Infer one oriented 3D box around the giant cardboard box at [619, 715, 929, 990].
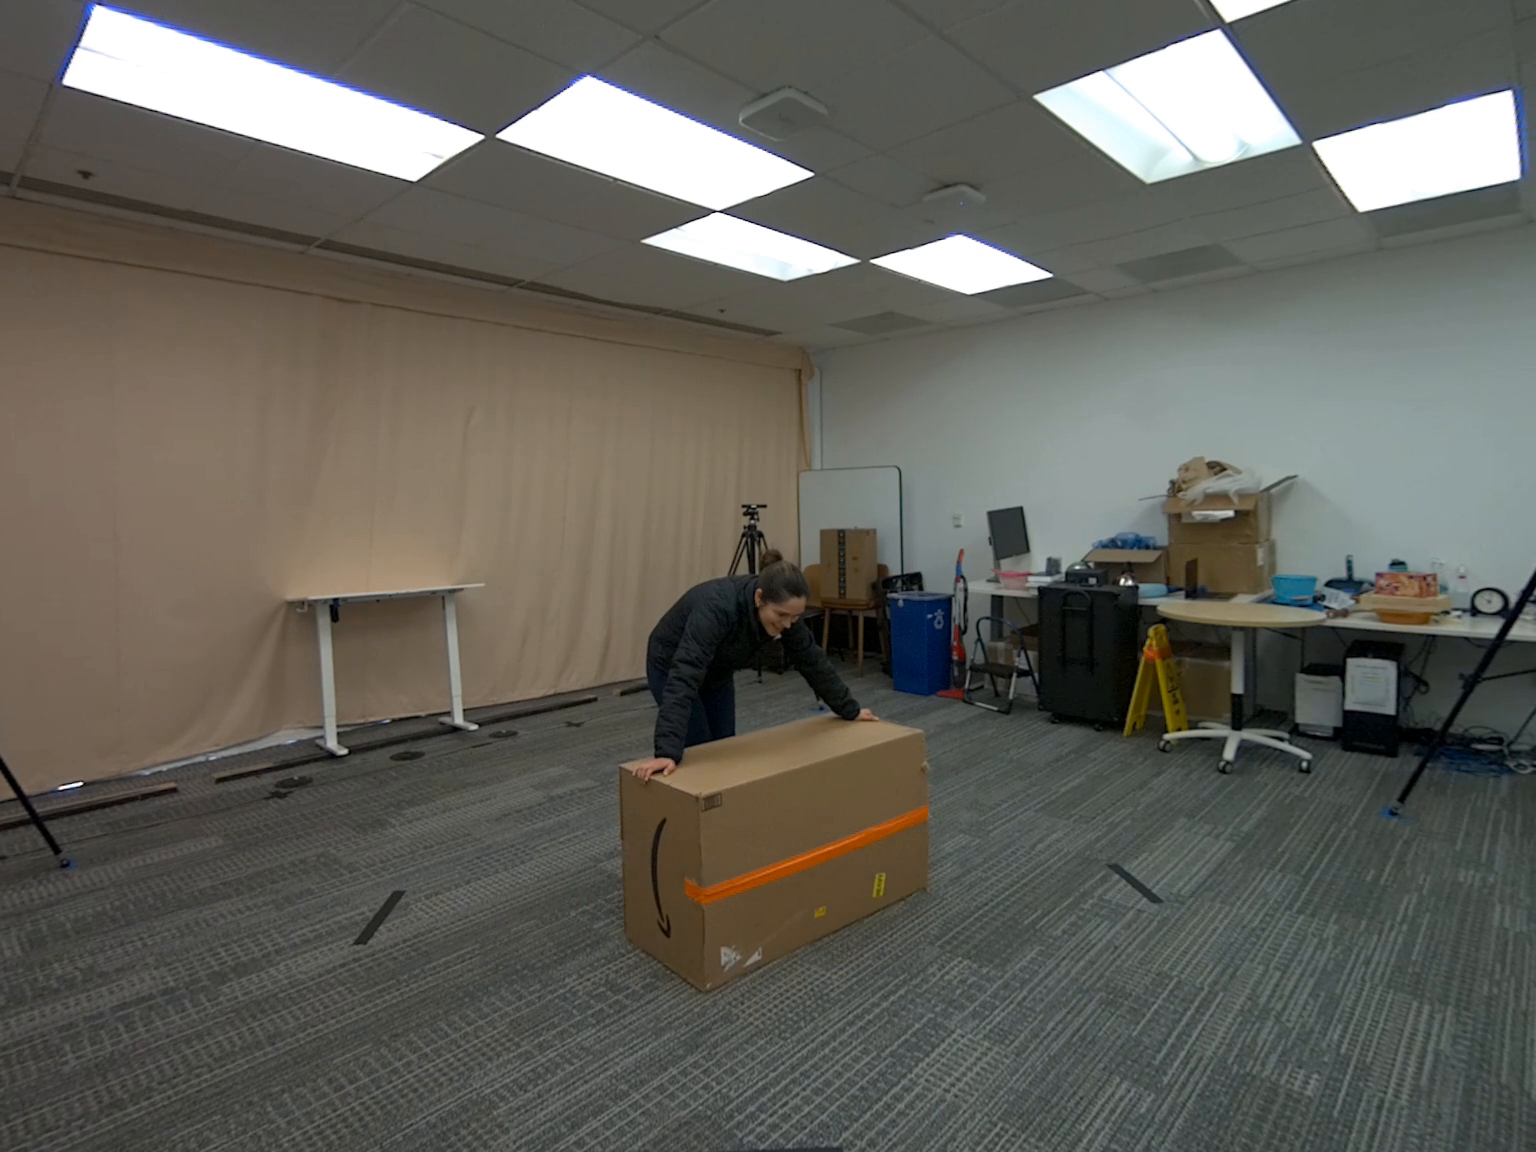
[{"bbox_3d":[0.070,0.864,2.863,0.997,0.583,0.461,-5,4,-39],"label":"giant cardboard box"}]
